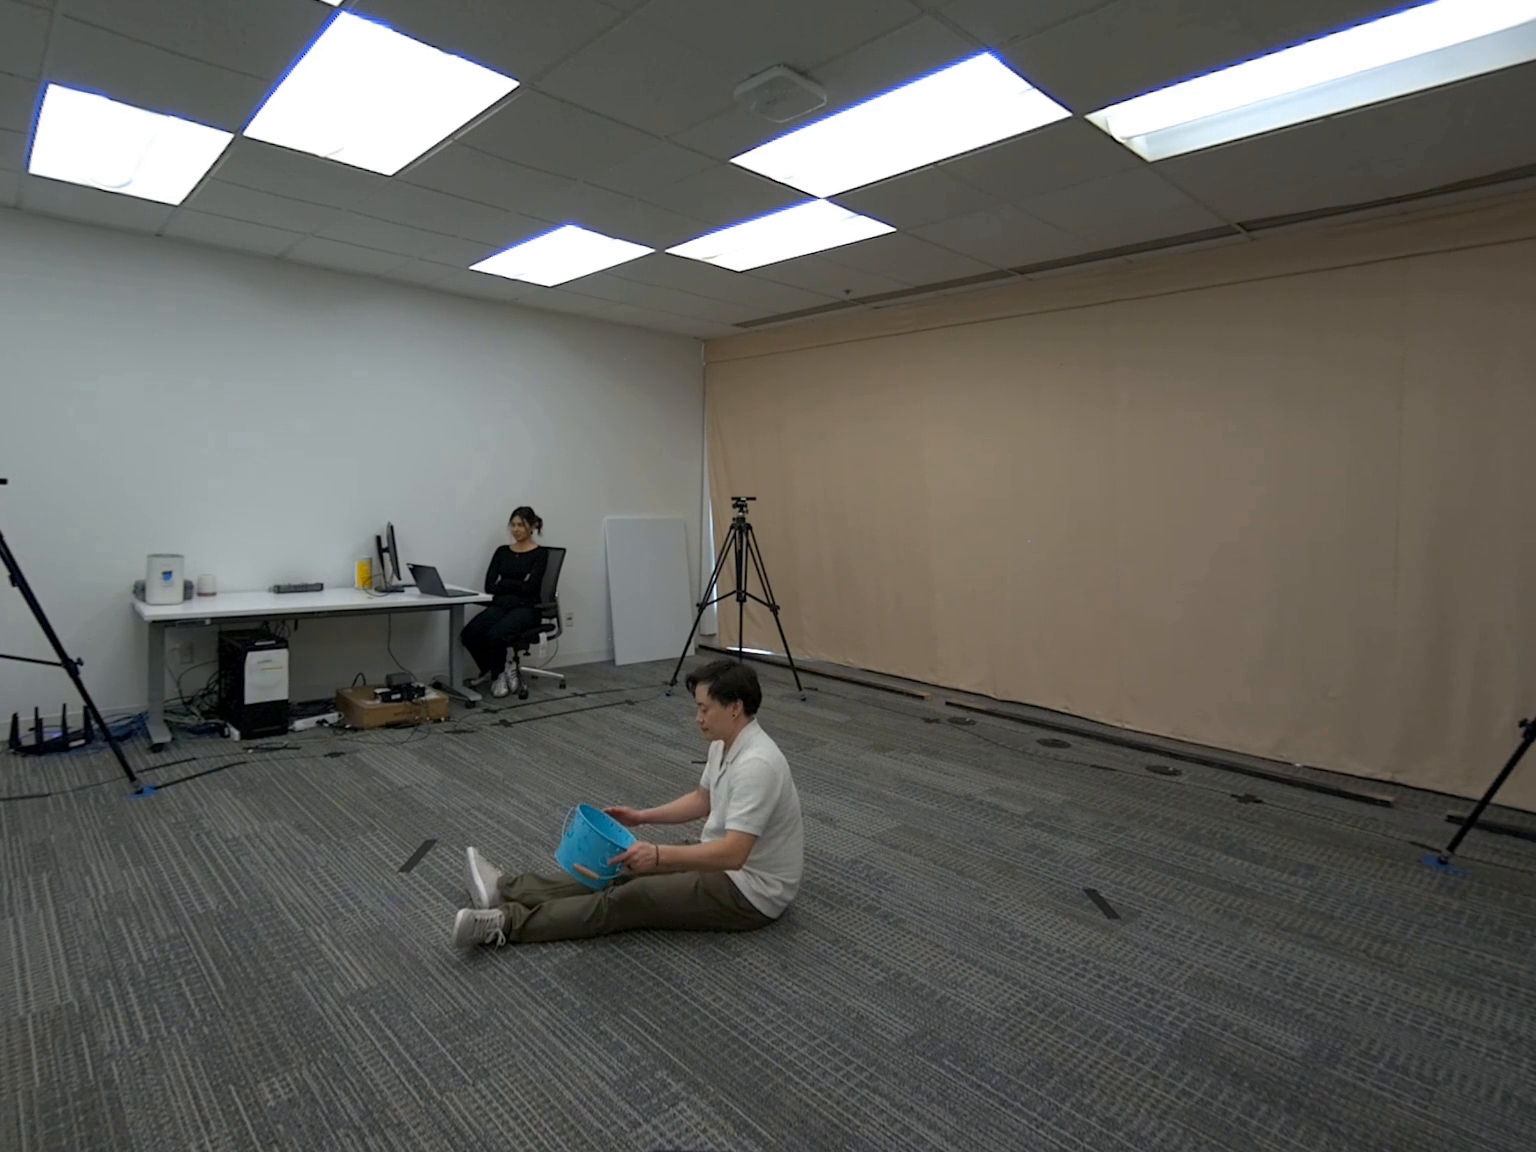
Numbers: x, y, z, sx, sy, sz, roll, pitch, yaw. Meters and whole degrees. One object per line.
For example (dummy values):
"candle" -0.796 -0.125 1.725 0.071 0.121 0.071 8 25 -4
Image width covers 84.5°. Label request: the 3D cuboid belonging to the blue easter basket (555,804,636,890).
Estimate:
"blue easter basket" -0.524 0.826 2.536 0.244 0.156 0.242 33 -5 2
